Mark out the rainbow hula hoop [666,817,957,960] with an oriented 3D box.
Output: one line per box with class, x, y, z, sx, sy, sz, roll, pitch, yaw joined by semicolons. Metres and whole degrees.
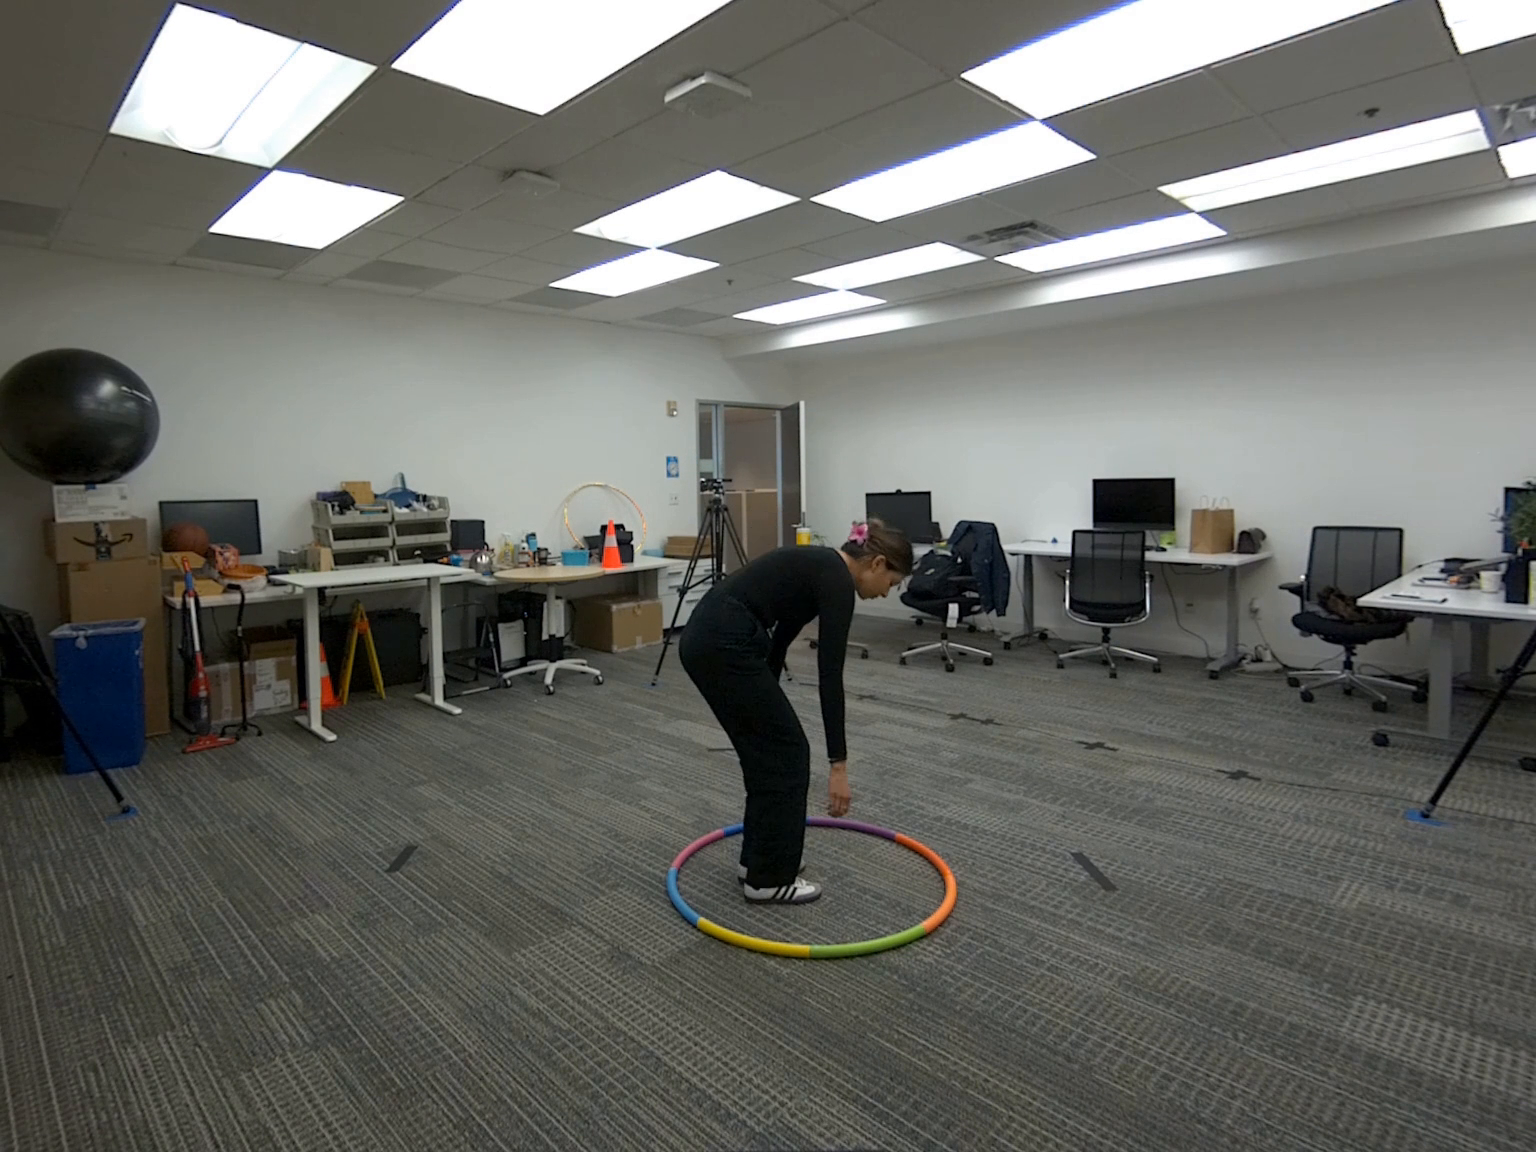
rainbow hula hoop;0.141;1.029;2.964;0.978;0.035;0.984;-2;6;-2
